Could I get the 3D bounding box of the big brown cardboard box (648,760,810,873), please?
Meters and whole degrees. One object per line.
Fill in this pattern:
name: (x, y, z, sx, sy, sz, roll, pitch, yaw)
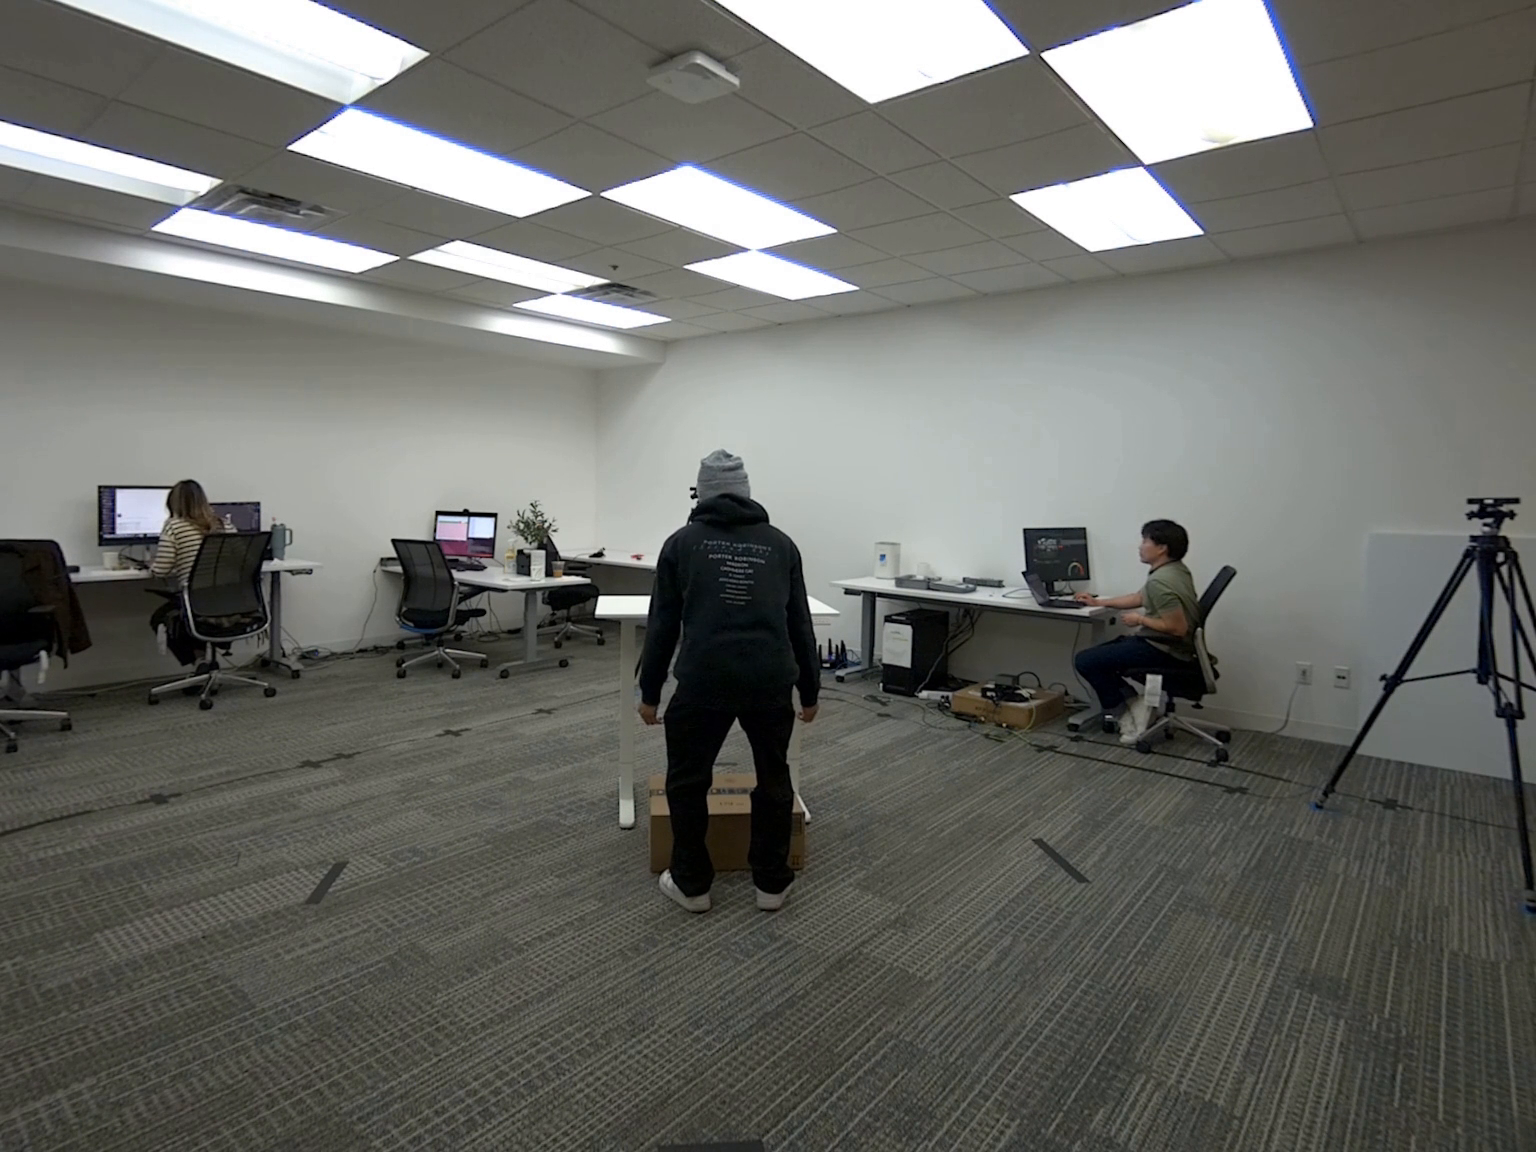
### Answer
big brown cardboard box: (-0.182, 0.936, 3.283, 0.585, 0.232, 0.422, 1, 5, -6)
